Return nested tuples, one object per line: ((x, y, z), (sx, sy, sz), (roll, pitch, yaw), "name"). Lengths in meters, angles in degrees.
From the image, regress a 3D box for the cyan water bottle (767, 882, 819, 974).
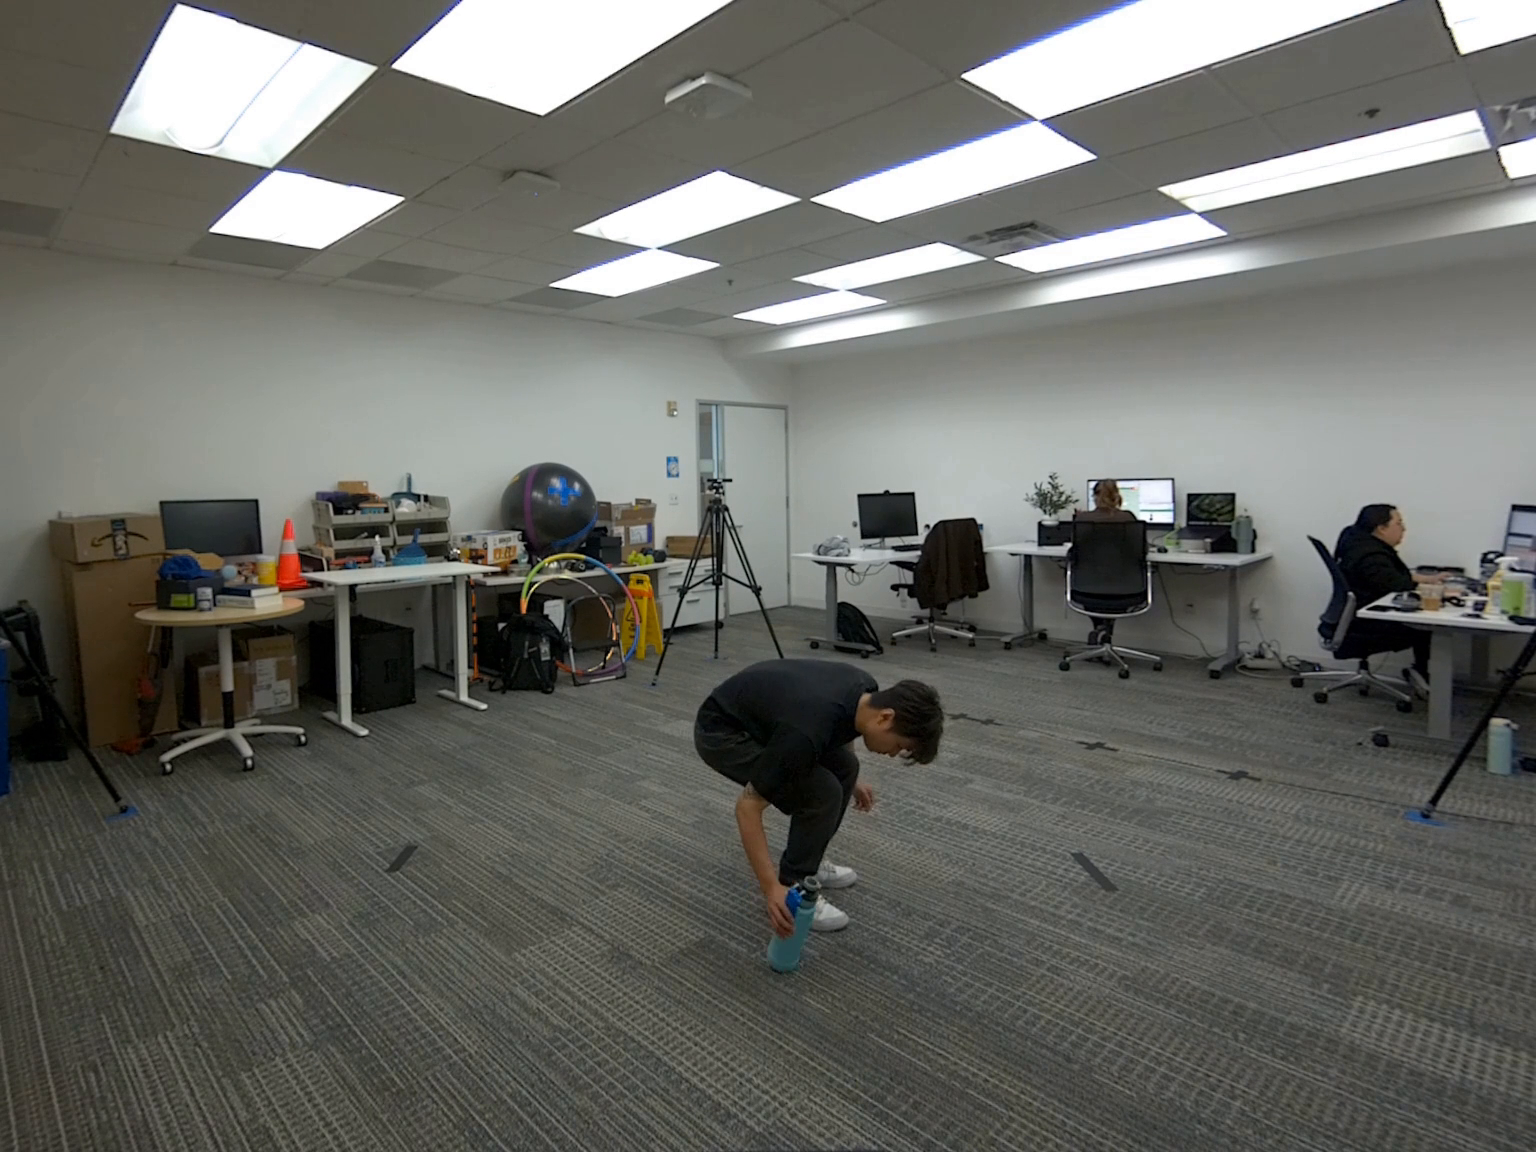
((0.086, 0.982, 2.399), (0.092, 0.280, 0.094), (11, 21, -6), "cyan water bottle")
